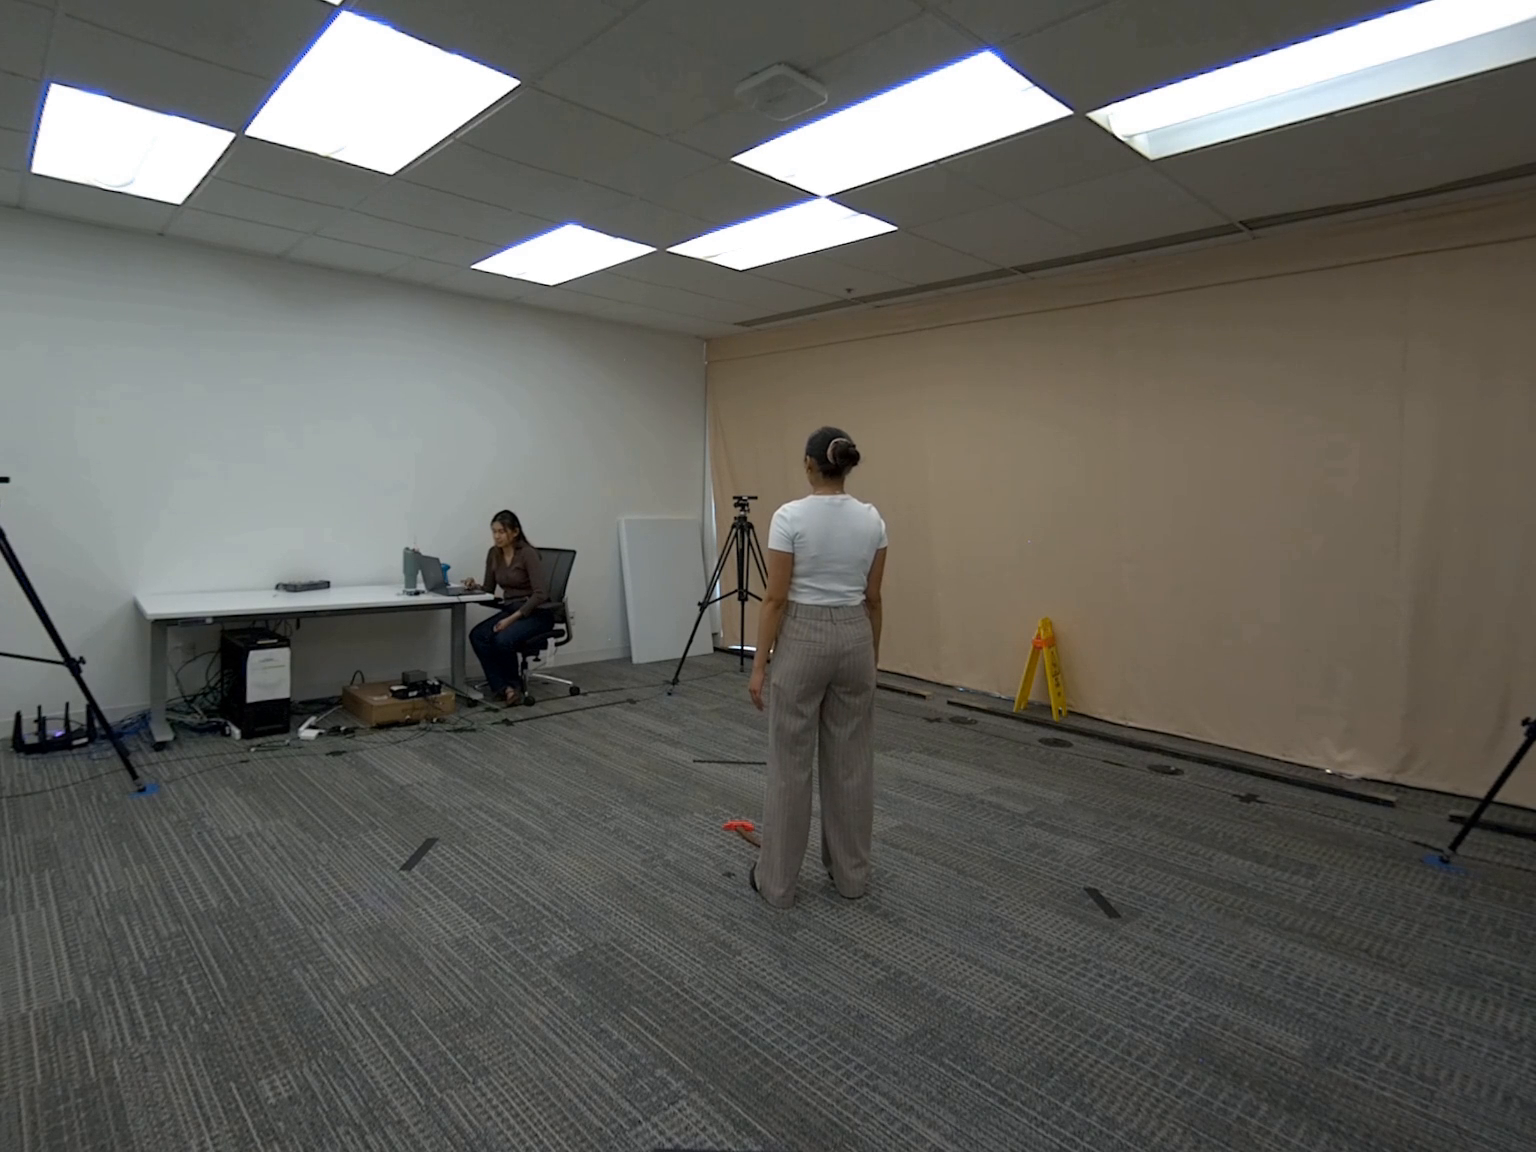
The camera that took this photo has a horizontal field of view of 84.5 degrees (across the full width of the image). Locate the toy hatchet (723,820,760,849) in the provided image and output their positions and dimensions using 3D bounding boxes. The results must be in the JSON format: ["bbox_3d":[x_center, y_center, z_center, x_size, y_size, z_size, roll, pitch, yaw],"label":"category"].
[{"bbox_3d":[-0.070,1.060,3.463,0.128,0.029,0.277,0,6,-40],"label":"toy hatchet"}]
